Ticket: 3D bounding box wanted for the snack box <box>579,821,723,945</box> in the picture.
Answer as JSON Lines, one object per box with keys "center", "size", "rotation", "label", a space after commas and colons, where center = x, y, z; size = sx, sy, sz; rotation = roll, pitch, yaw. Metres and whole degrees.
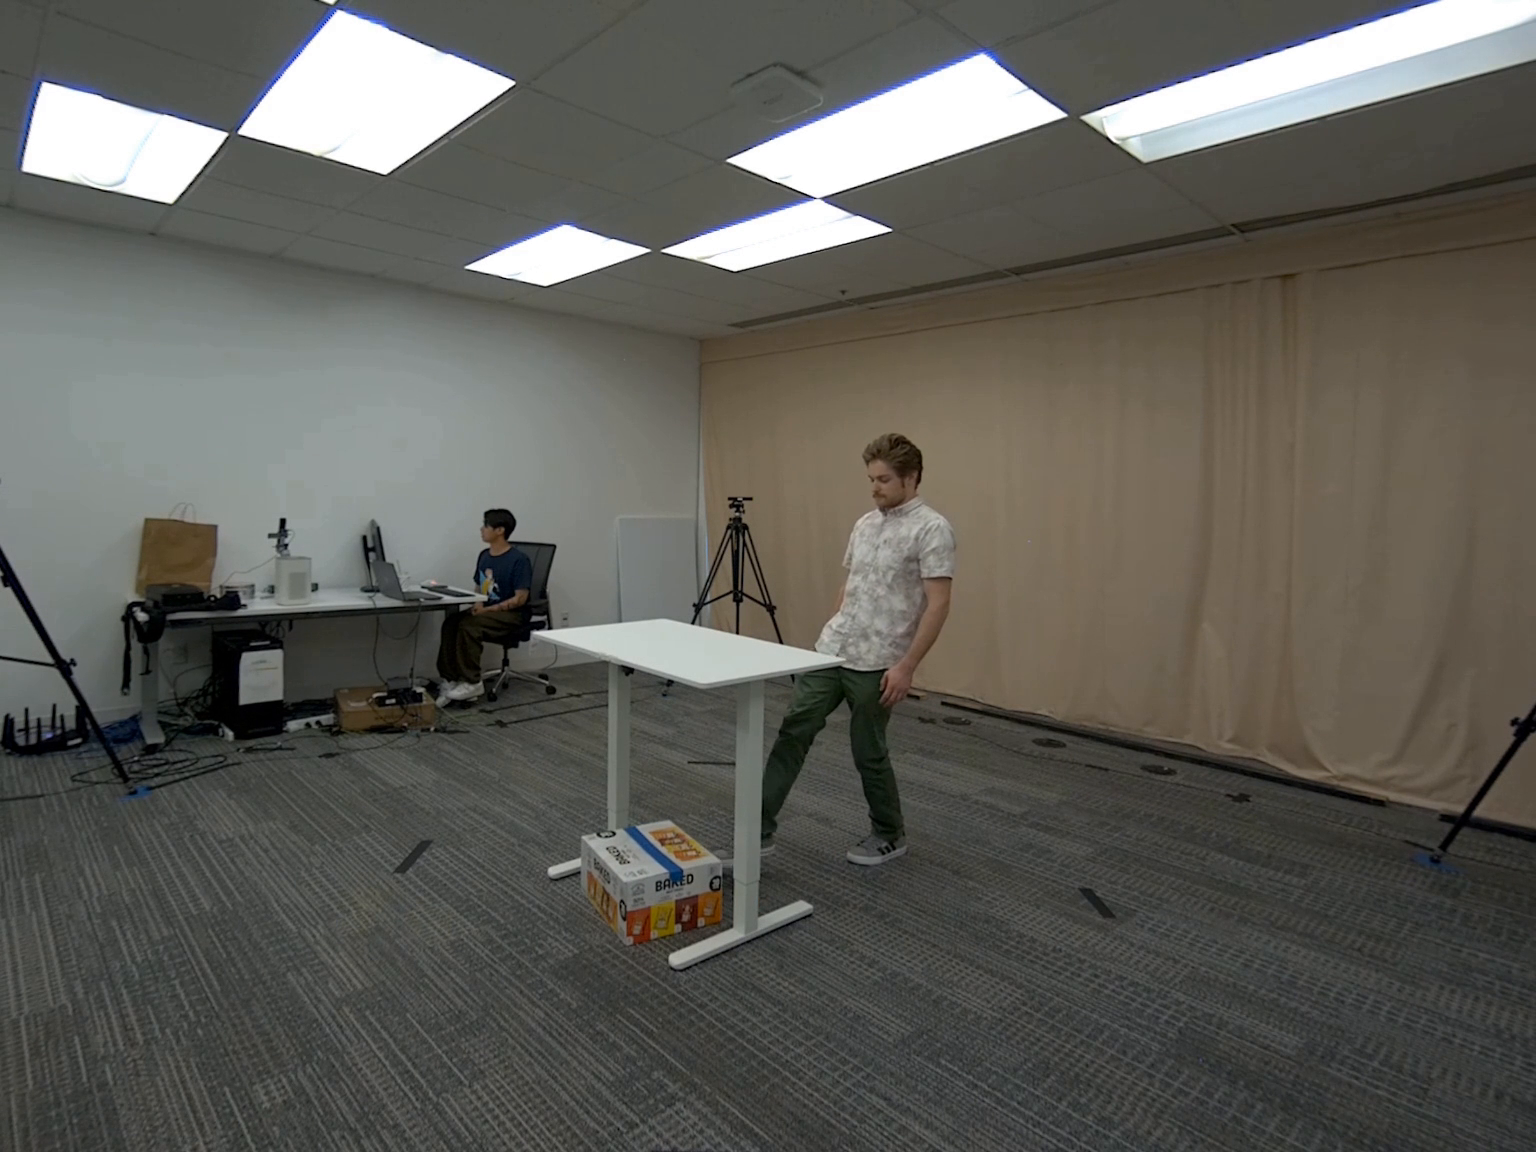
{"center": [-0.409, 1.026, 2.846], "size": [0.333, 0.205, 0.414], "rotation": [-1, 5, -31], "label": "snack box"}
